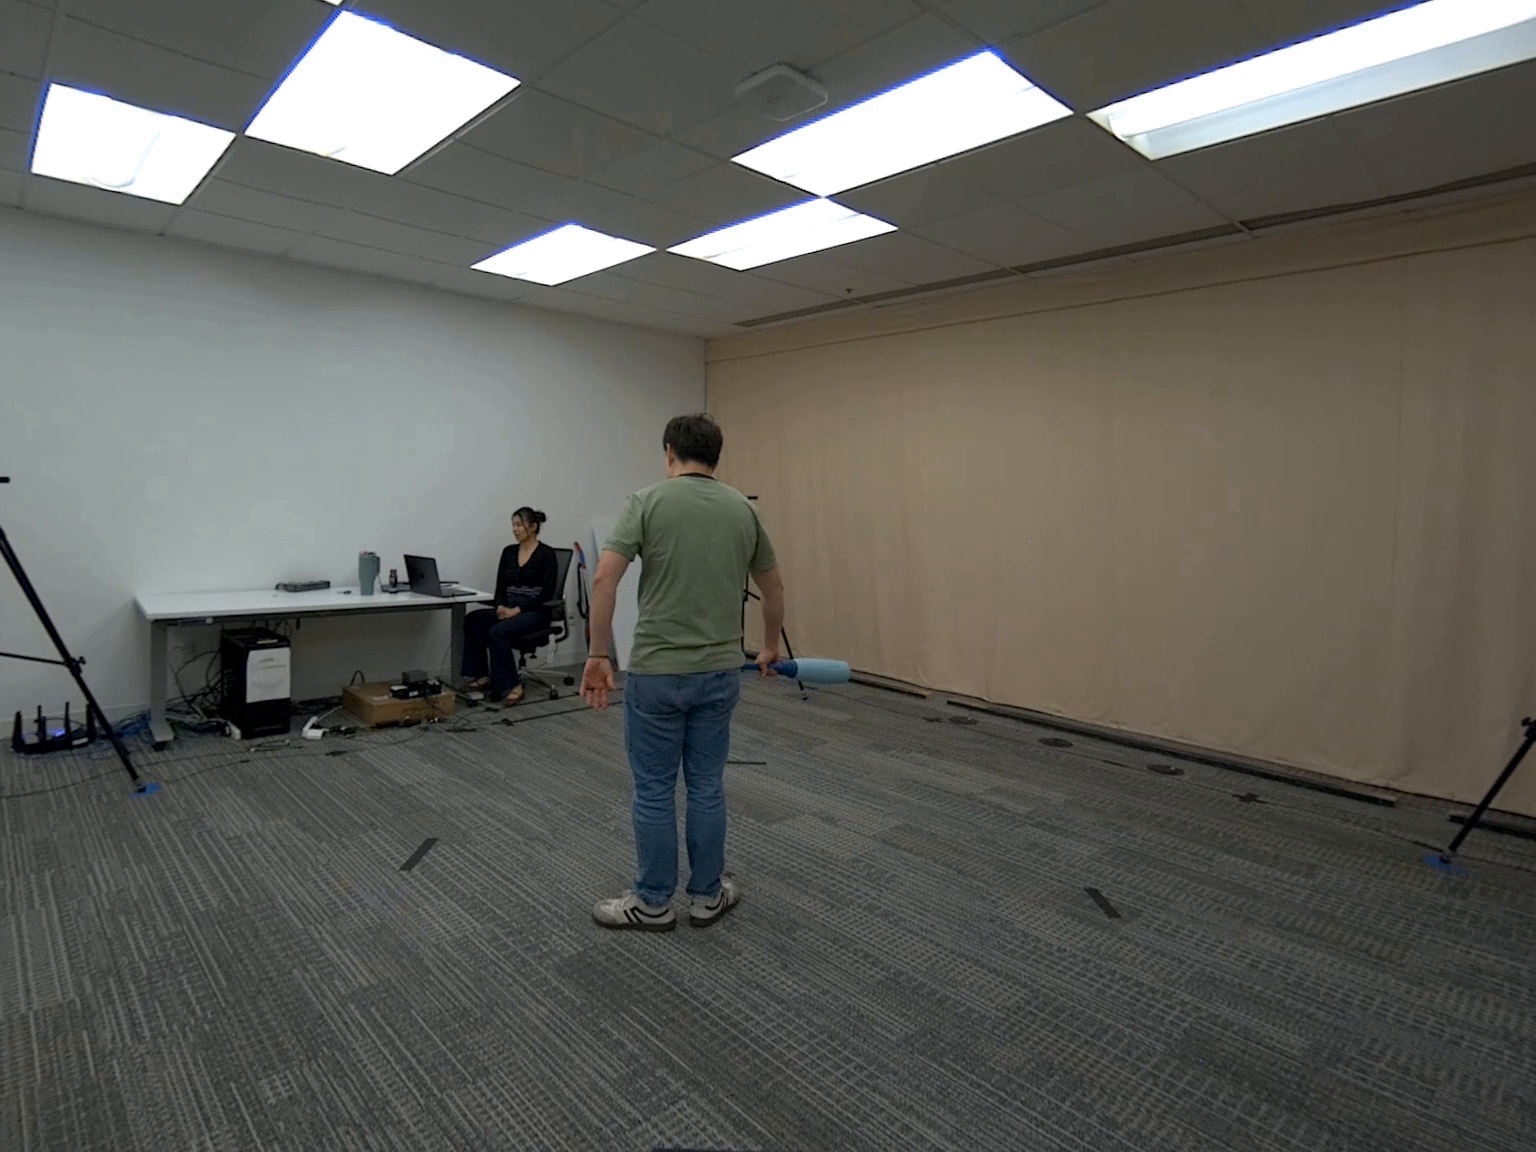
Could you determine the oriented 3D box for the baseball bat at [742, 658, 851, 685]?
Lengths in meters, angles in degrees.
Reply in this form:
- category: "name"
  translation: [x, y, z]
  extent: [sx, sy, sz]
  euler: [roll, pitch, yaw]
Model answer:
- category: "baseball bat"
  translation: [0.060, 0.338, 3.034]
  extent: [0.530, 0.089, 0.091]
  euler: [8, 0, -33]
